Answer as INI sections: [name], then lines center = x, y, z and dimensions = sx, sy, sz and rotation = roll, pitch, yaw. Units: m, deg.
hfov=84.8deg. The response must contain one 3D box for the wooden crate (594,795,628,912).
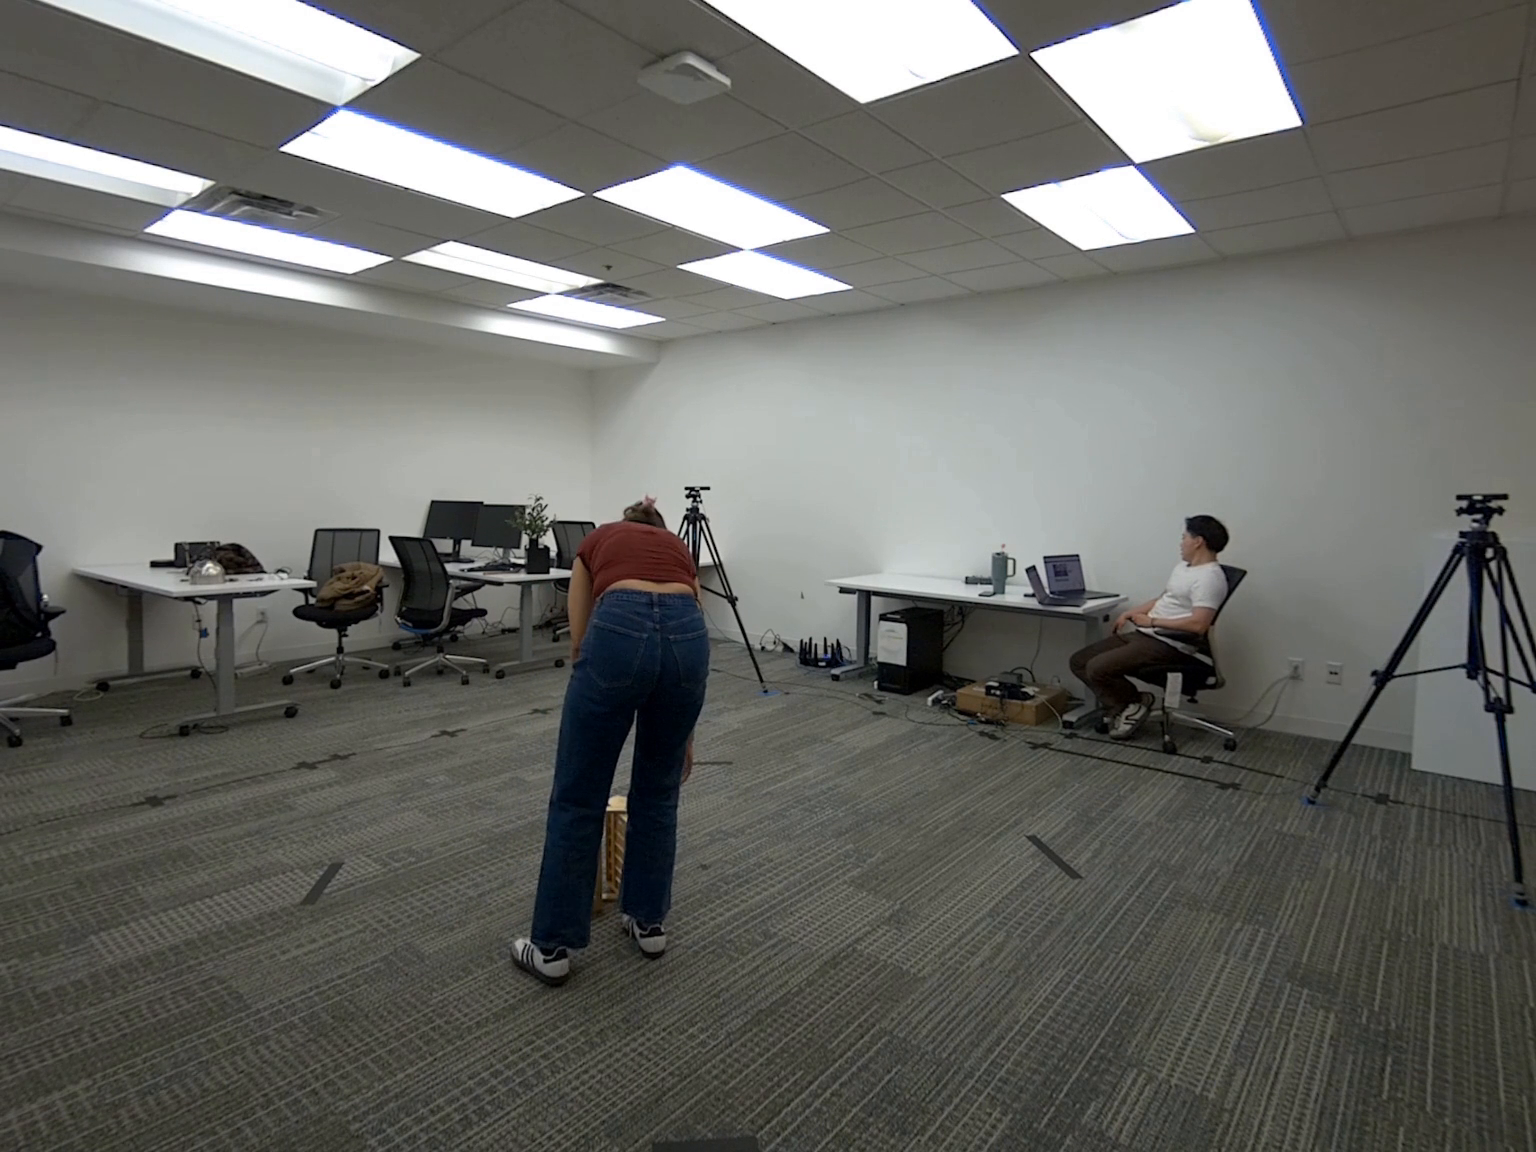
[wooden crate]
center = -0.567, 0.917, 2.854
dimensions = 0.266, 0.321, 0.313
rotation = -6, 12, -33
